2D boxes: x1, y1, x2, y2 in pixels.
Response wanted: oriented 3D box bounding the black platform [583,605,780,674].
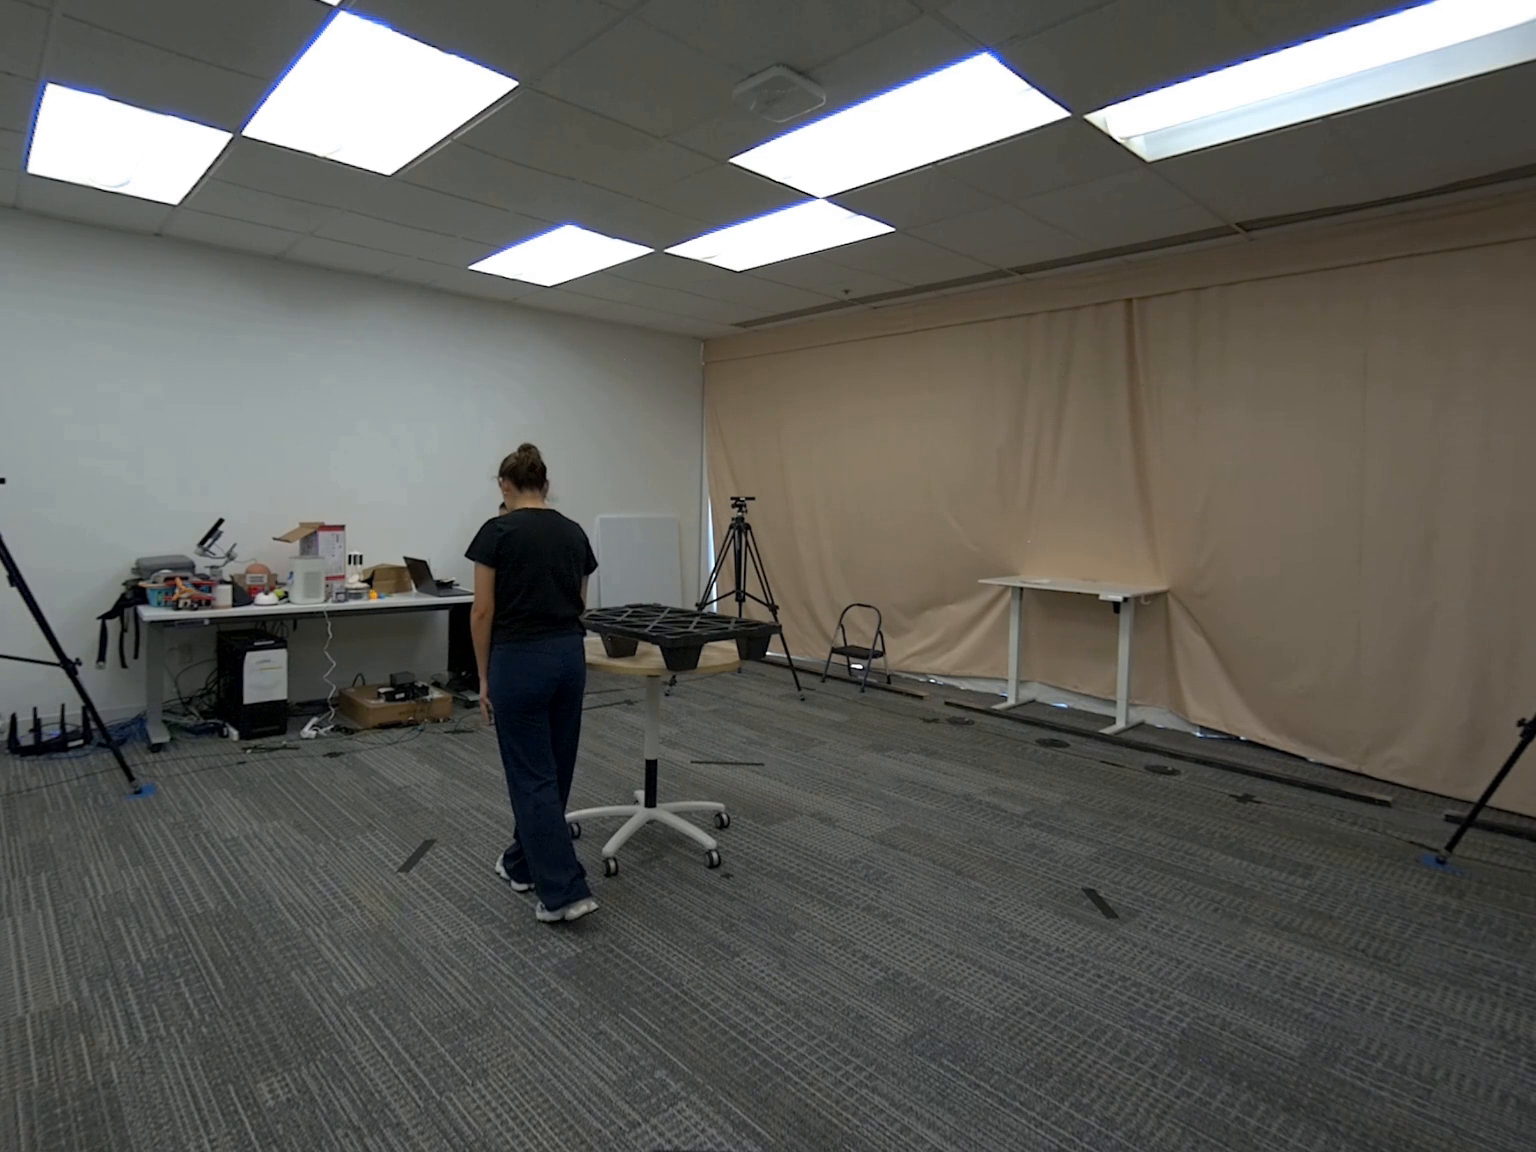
[{"bbox_3d":[-0.440,0.236,3.331,0.826,0.143,0.591,7,7,42],"label":"black platform"}]
